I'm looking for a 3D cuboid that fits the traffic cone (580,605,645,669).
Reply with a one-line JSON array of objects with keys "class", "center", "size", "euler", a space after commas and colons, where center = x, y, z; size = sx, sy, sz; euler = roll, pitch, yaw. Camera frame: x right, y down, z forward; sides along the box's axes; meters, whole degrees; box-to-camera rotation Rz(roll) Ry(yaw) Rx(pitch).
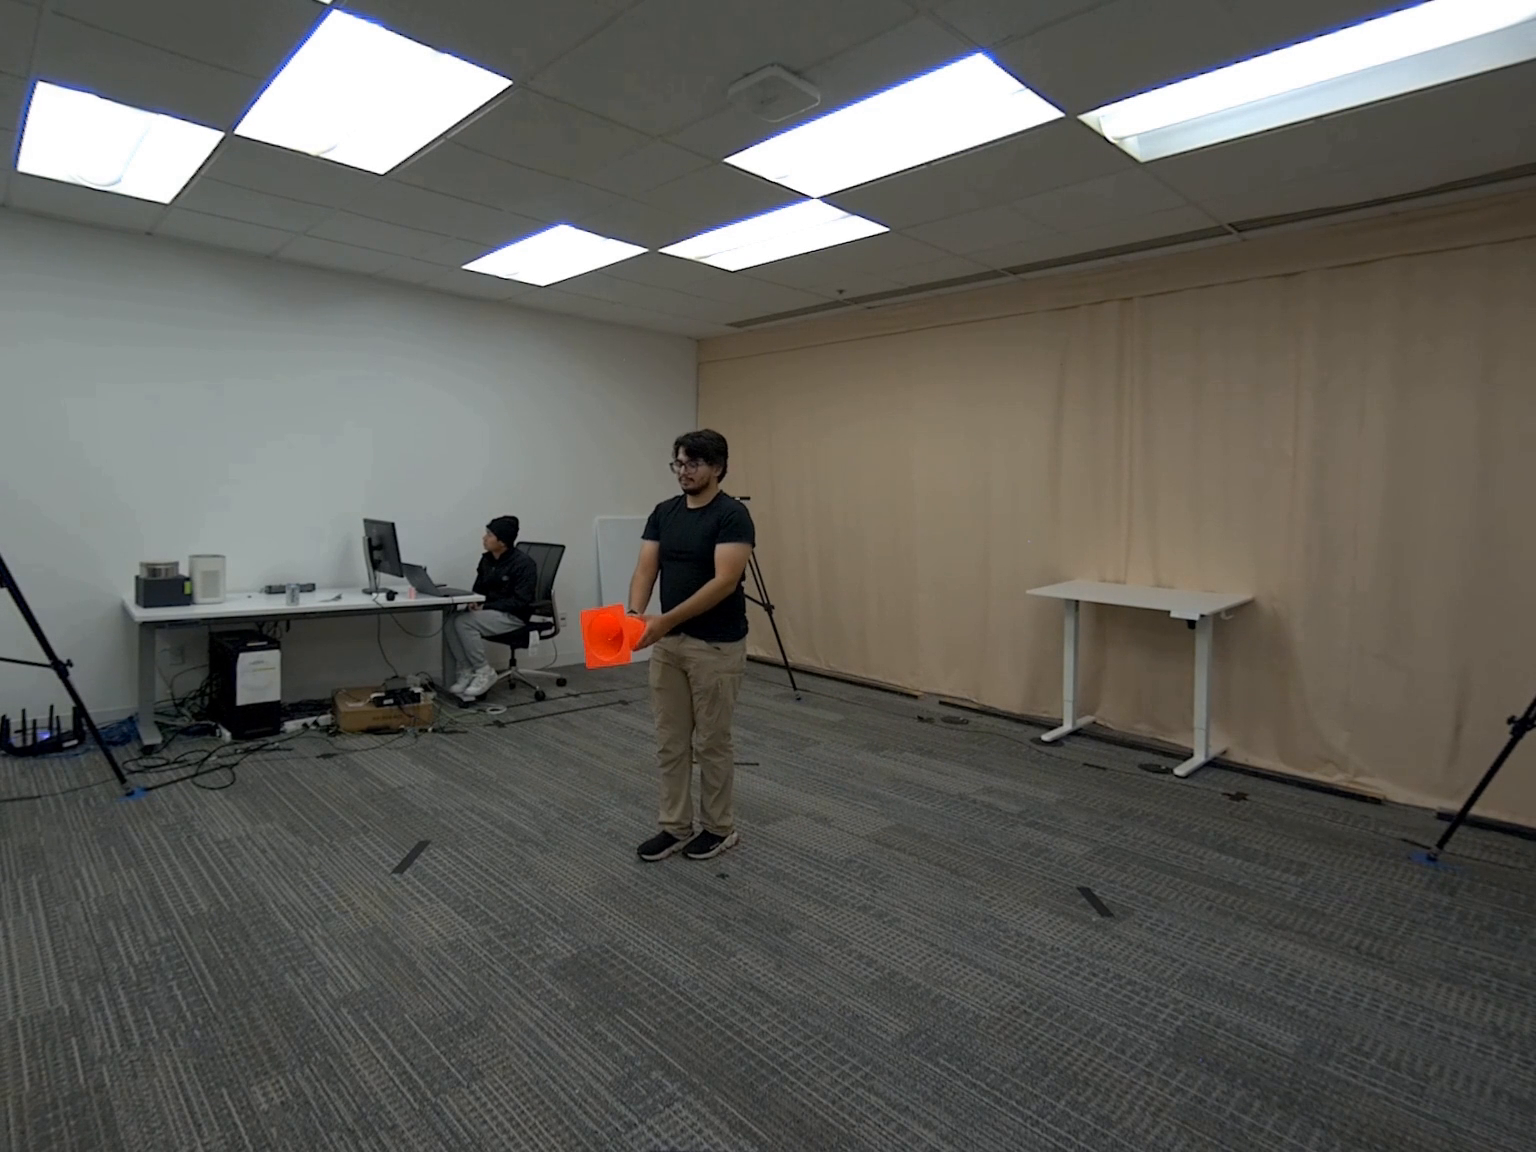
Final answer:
[{"class": "traffic cone", "center": [-0.491, 0.195, 3.017], "size": [0.208, 0.204, 0.377], "euler": [-11, -3, 26]}]
